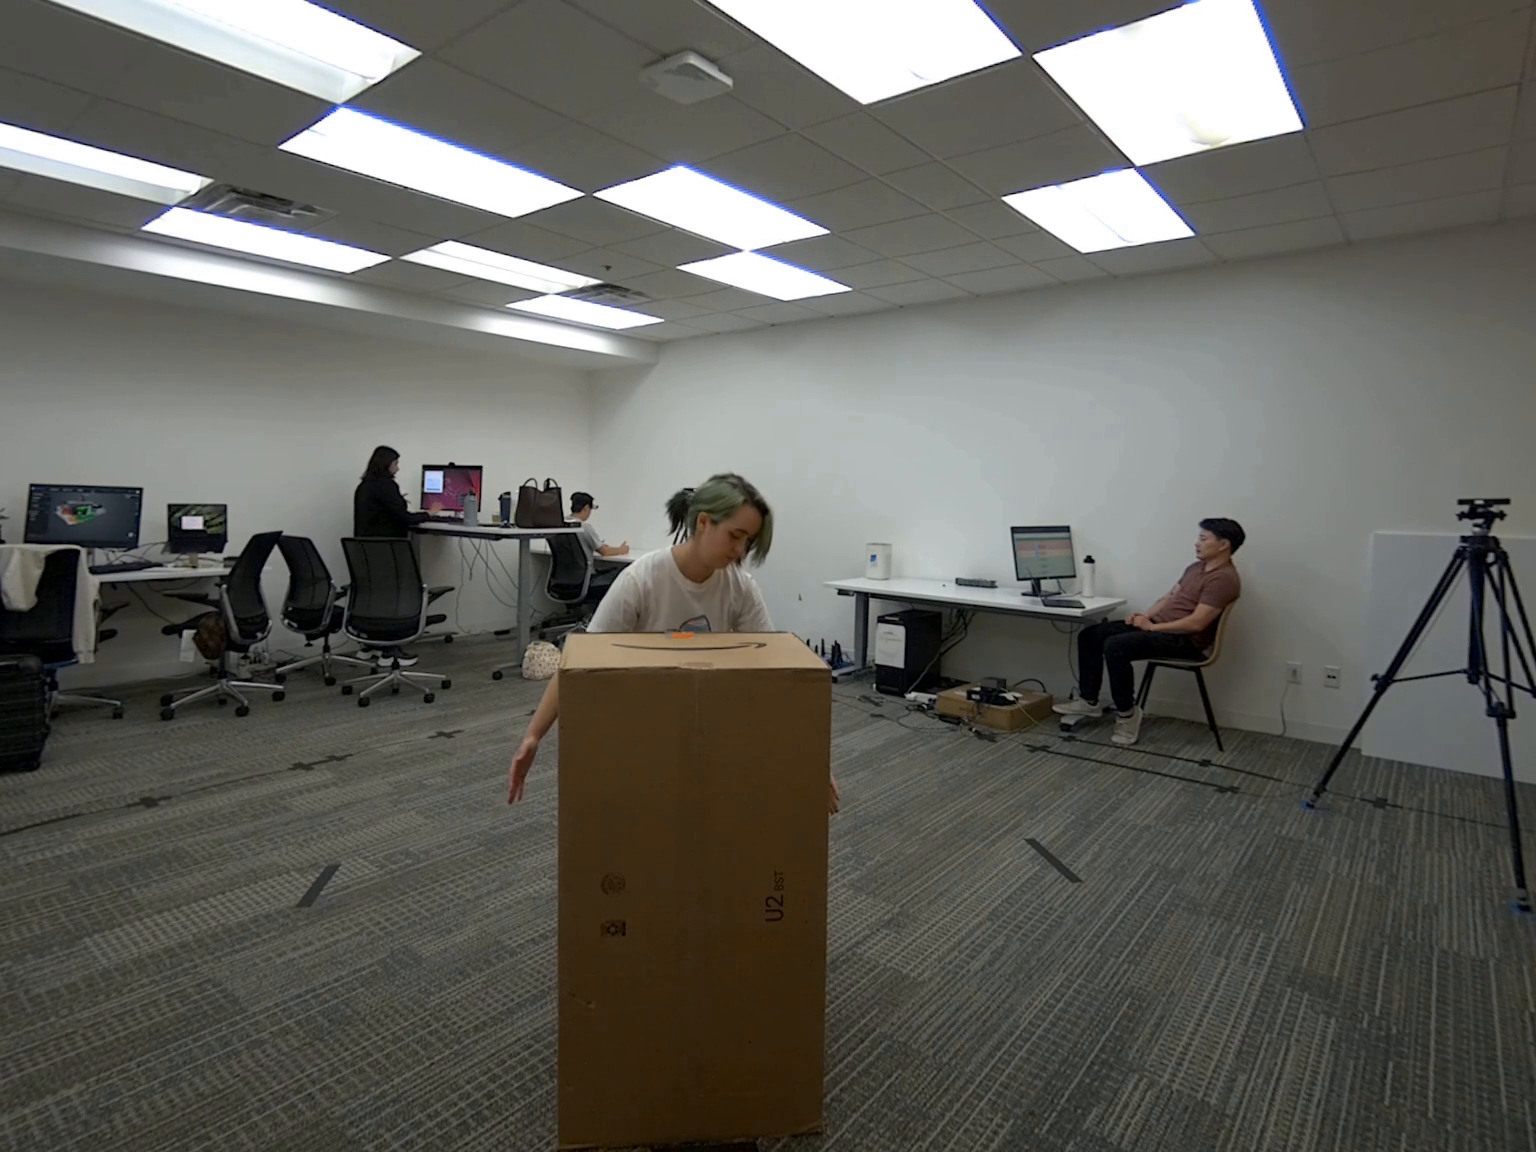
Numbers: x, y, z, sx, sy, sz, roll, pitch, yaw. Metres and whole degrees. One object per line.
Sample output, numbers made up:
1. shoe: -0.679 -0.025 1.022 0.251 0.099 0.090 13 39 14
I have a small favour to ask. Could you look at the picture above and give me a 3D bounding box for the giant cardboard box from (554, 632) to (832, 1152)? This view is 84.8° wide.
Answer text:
1. giant cardboard box: -0.198 0.675 1.989 0.579 1.023 0.452 0 4 -8
